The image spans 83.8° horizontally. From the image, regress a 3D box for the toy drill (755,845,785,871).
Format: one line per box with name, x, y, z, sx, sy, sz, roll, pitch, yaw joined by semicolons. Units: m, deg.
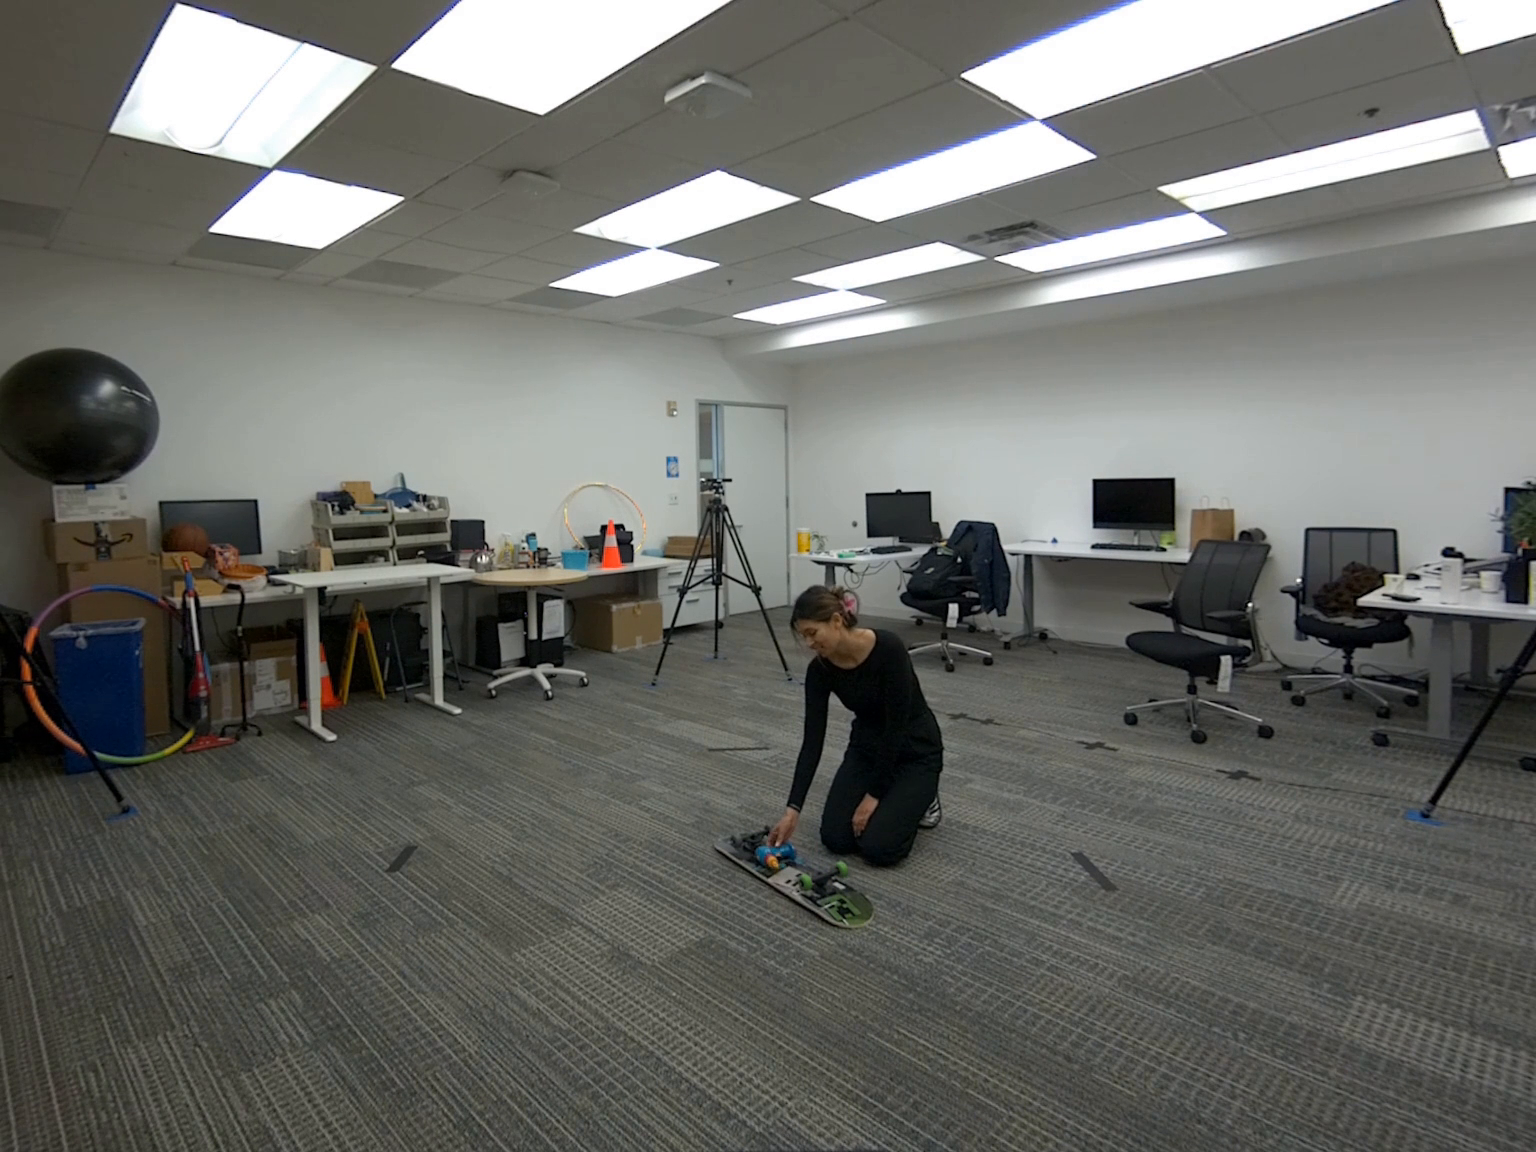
toy drill;0.035;0.992;3.021;0.143;0.061;0.173;3;1;-25
